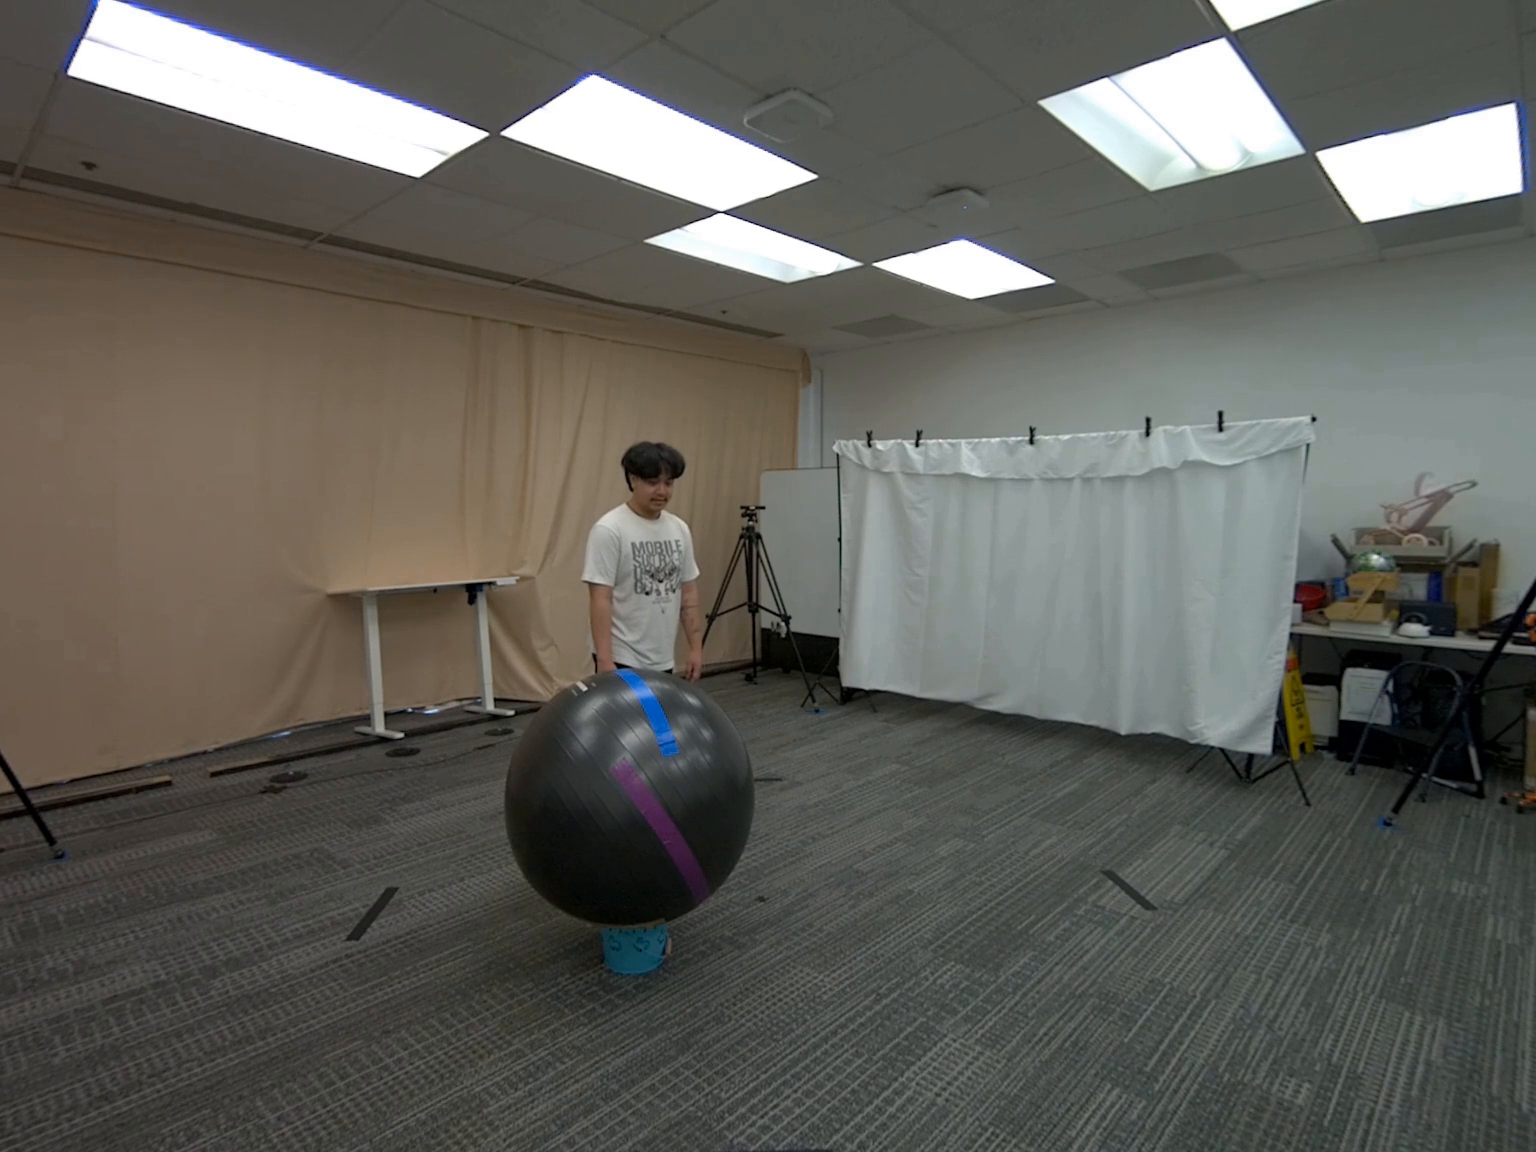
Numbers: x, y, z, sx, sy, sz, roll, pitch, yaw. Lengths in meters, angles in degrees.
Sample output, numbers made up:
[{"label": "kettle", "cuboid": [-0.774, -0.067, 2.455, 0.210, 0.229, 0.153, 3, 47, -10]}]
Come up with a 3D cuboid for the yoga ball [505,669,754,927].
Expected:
[{"label": "yoga ball", "cuboid": [-0.415, 0.673, 2.577, 0.757, 0.756, 0.760, 0, 4, -2]}]
